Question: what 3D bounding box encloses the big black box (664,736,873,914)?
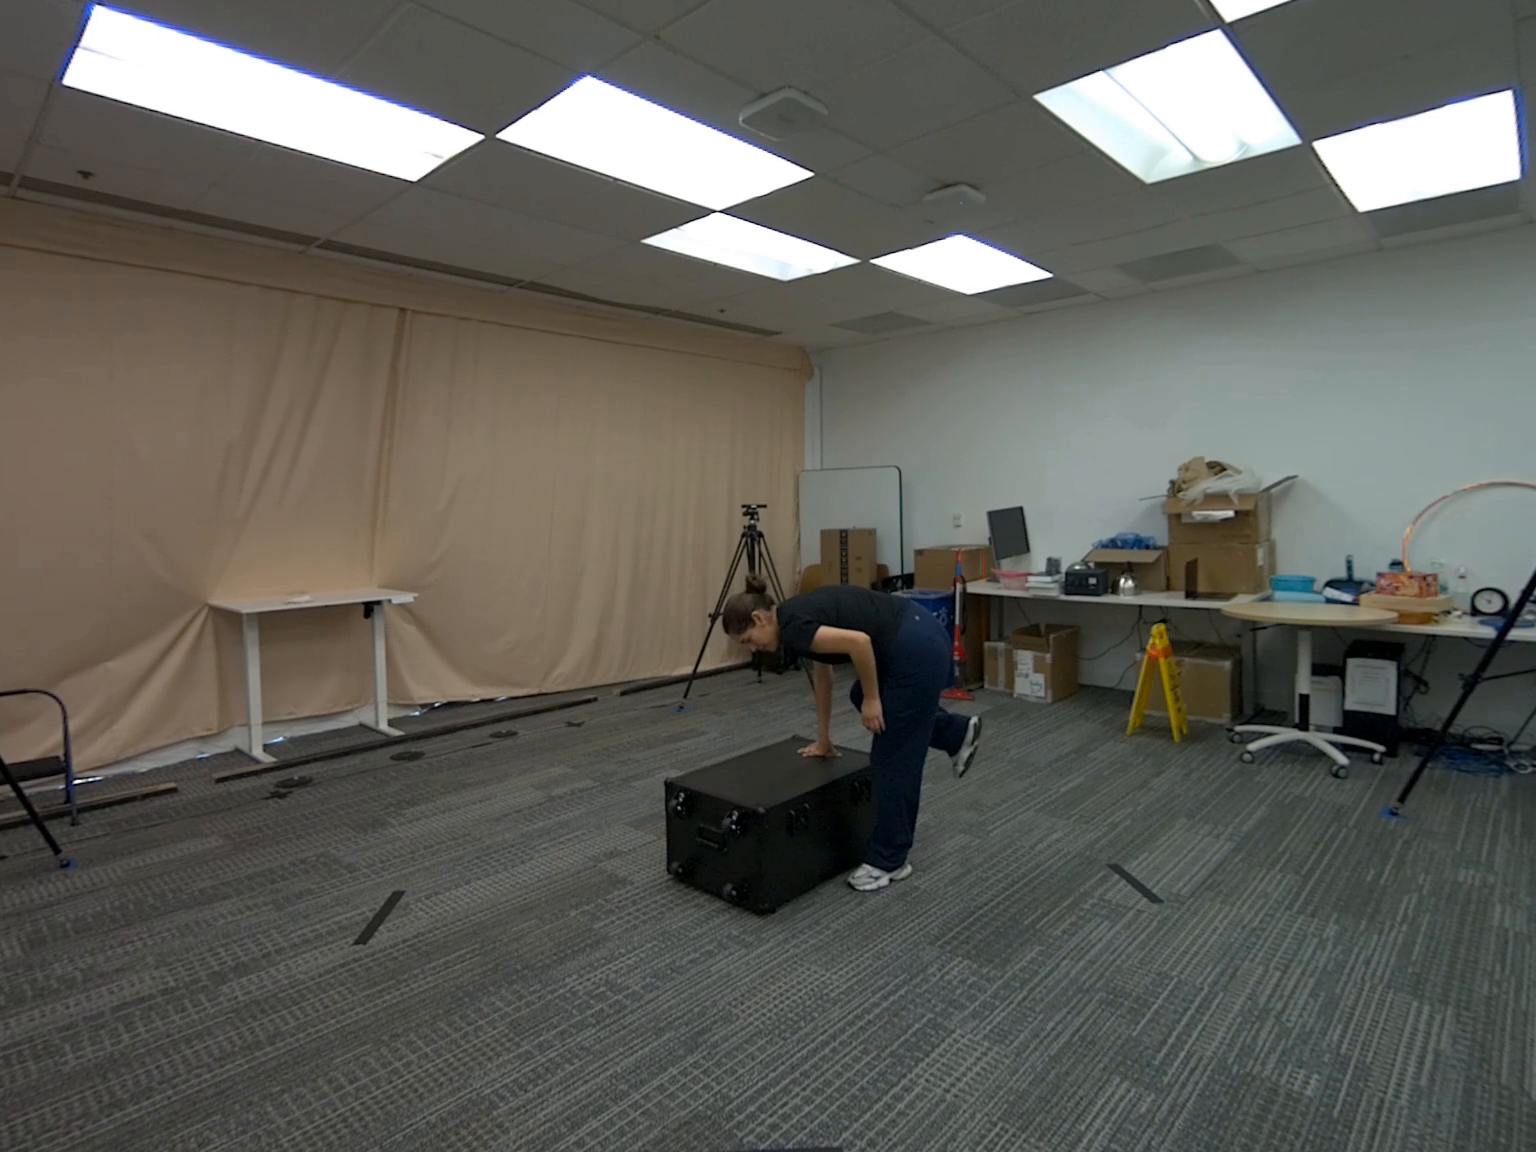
[{"bbox_3d":[0.048,0.912,3.223,0.538,0.395,0.836,3,7,41],"label":"big black box"}]
